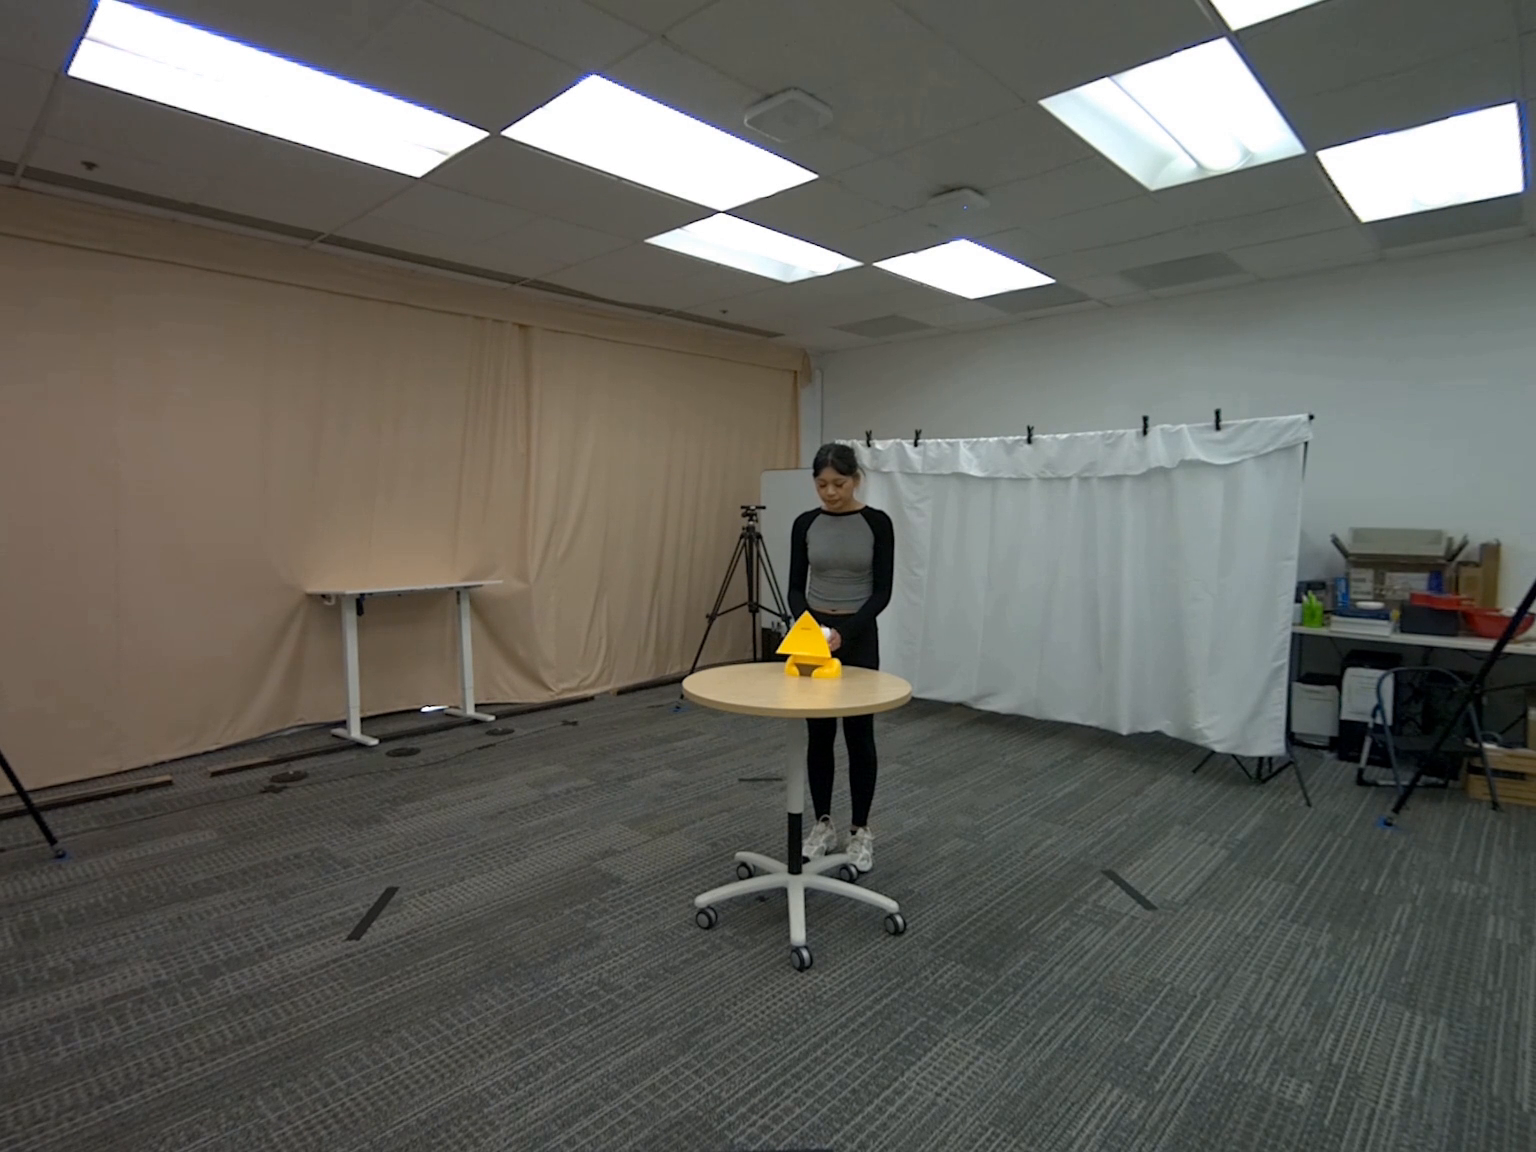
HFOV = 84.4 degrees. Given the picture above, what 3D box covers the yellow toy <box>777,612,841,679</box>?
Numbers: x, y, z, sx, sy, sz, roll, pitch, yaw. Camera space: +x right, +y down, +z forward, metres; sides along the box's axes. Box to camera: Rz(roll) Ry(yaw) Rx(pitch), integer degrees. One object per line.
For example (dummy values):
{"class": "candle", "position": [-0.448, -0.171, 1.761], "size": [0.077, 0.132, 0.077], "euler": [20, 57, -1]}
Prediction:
{"class": "yellow toy", "position": [0.158, 0.235, 3.014], "size": [0.211, 0.230, 0.188], "euler": [1, 1, 30]}
